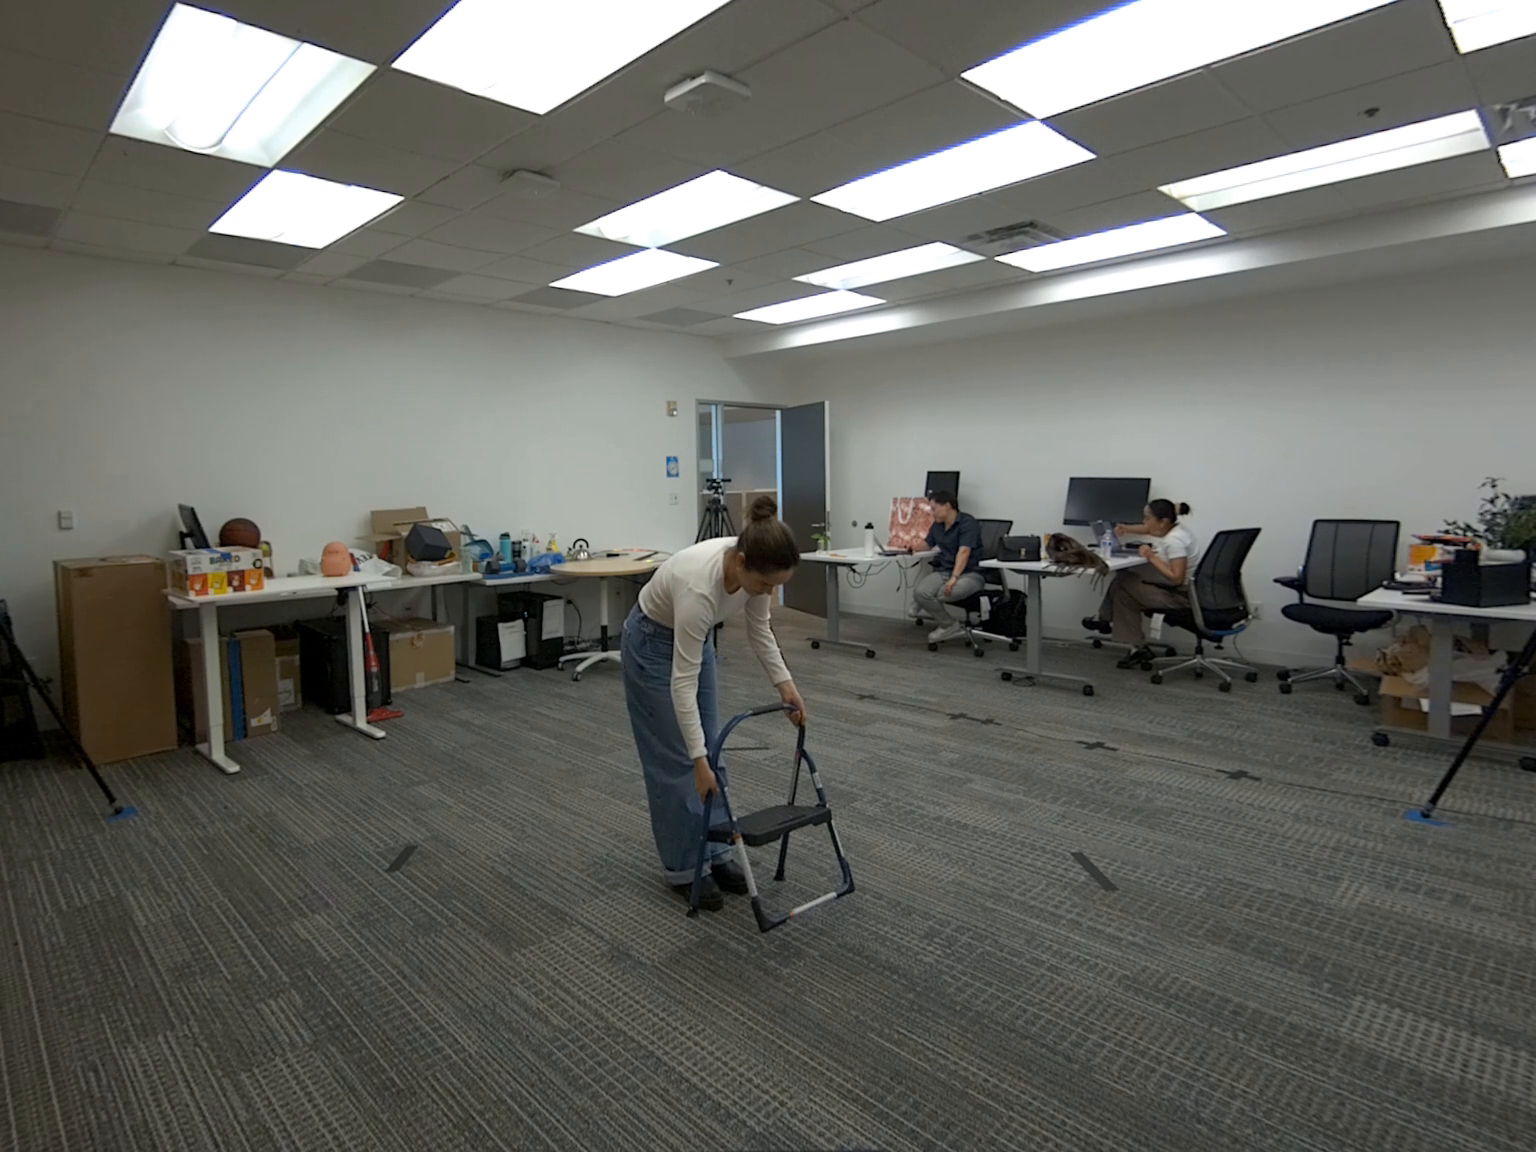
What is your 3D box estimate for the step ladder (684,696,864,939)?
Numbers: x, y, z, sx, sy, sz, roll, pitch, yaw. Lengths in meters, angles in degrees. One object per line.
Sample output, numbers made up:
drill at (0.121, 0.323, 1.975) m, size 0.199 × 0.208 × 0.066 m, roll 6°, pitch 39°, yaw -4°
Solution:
step ladder at (-0.018, 0.721, 2.691) m, size 0.418 × 0.610 × 0.357 m, roll -2°, pitch -9°, yaw -45°
